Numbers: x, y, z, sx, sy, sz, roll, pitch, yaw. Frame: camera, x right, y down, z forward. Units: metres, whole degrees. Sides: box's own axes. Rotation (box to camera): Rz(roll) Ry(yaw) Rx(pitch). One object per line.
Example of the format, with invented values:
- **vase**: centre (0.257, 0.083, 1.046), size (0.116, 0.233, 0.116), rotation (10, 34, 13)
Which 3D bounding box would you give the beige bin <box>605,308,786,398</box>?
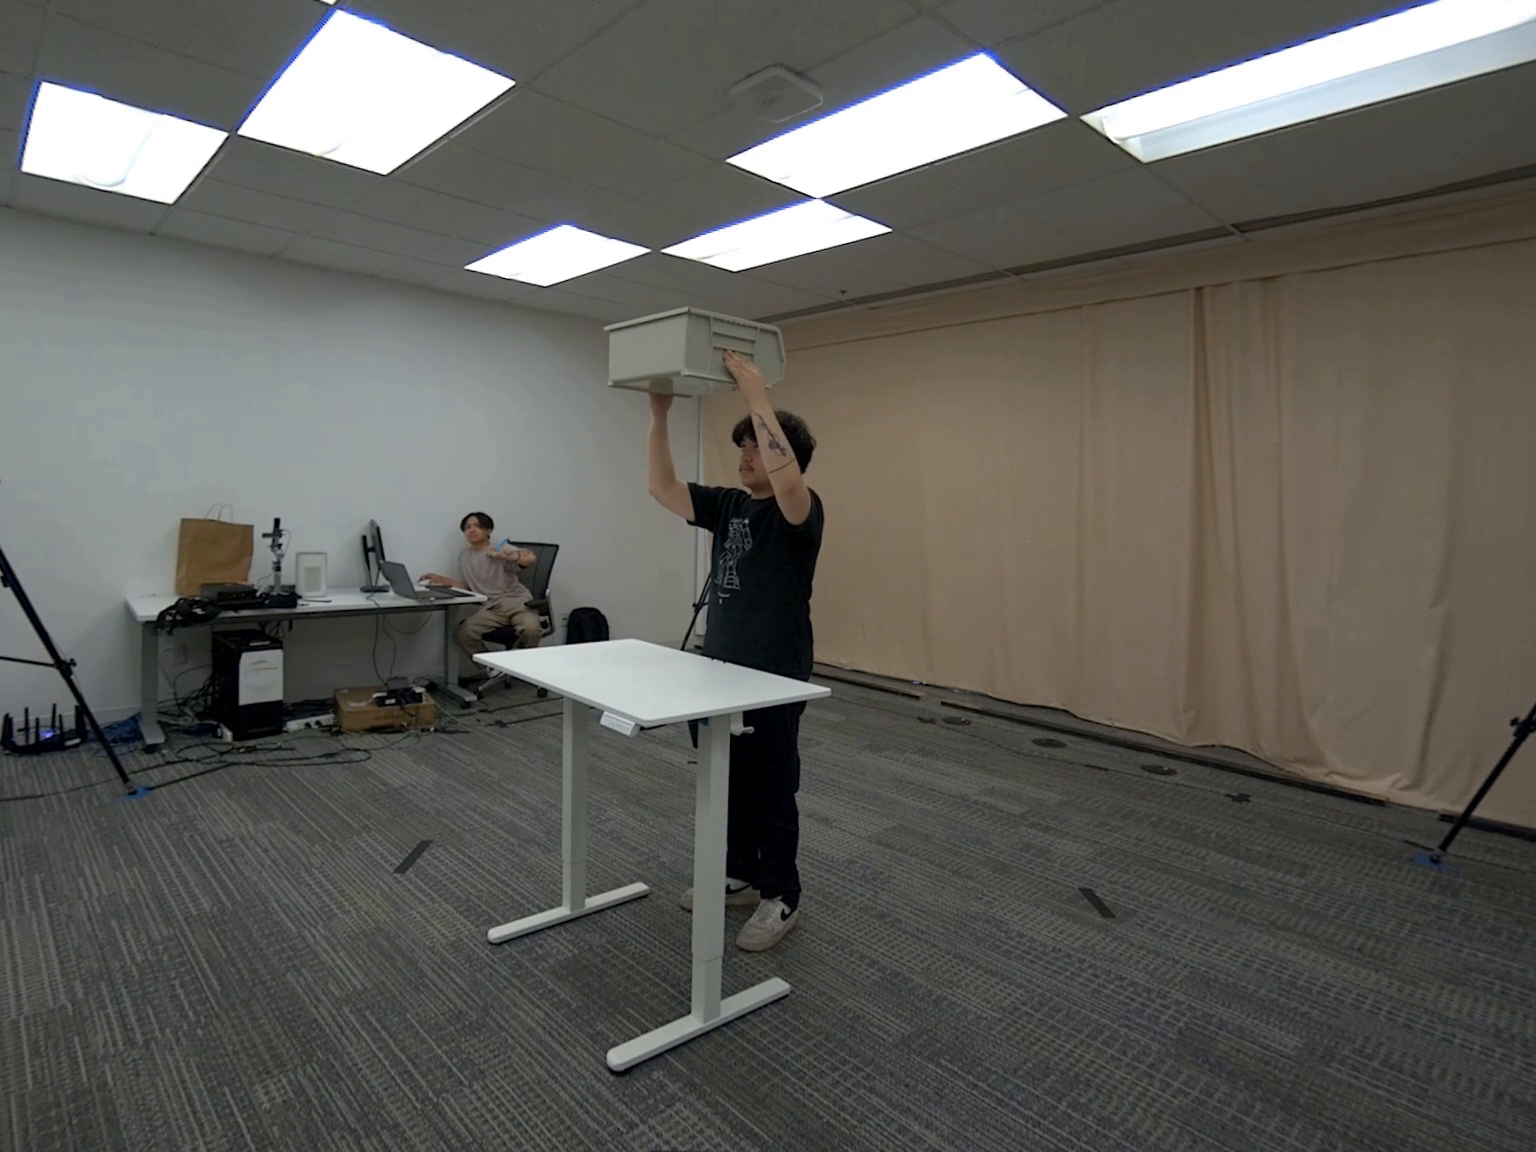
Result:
- **beige bin**: centre (-0.230, -0.652, 2.531), size (0.369, 0.188, 0.433), rotation (-2, 7, -41)
